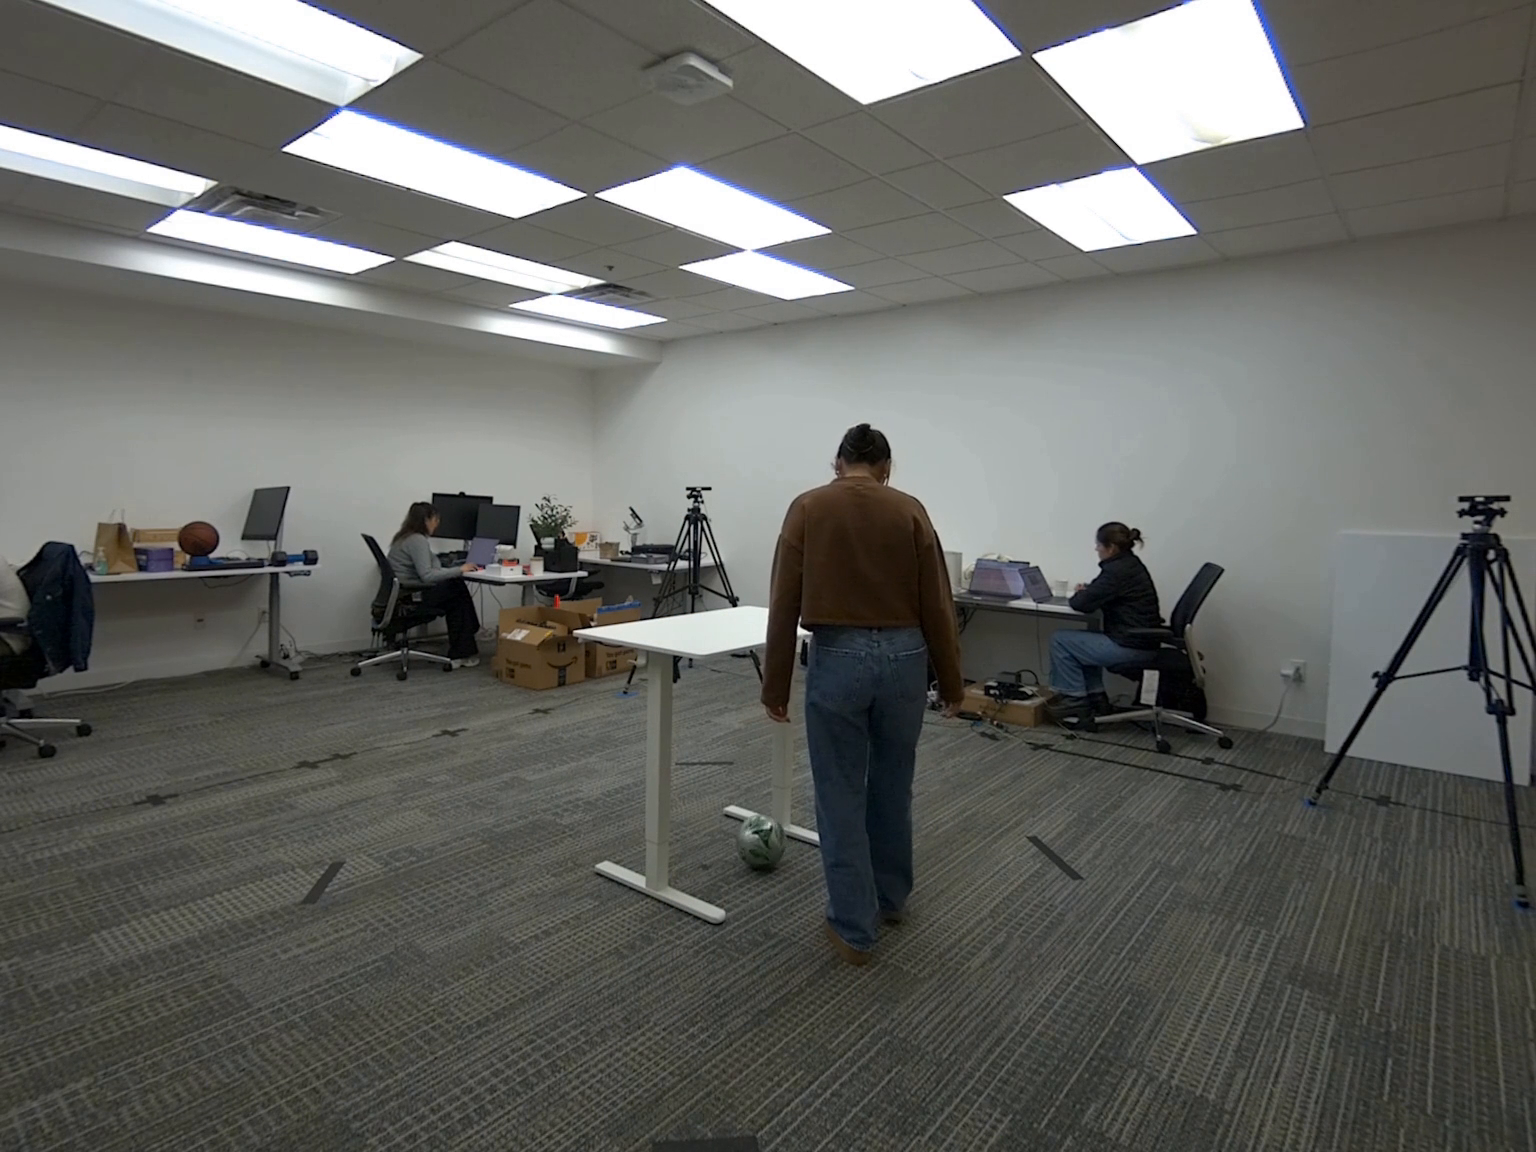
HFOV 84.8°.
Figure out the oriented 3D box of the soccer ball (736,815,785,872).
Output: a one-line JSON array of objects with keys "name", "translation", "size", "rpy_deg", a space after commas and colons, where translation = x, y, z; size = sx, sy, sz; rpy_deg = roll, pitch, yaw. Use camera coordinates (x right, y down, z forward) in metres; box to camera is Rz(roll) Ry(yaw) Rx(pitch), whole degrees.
[{"name": "soccer ball", "translation": [-0.031, 0.974, 3.125], "size": [0.187, 0.187, 0.188], "rpy_deg": [1, 4, -2]}]
